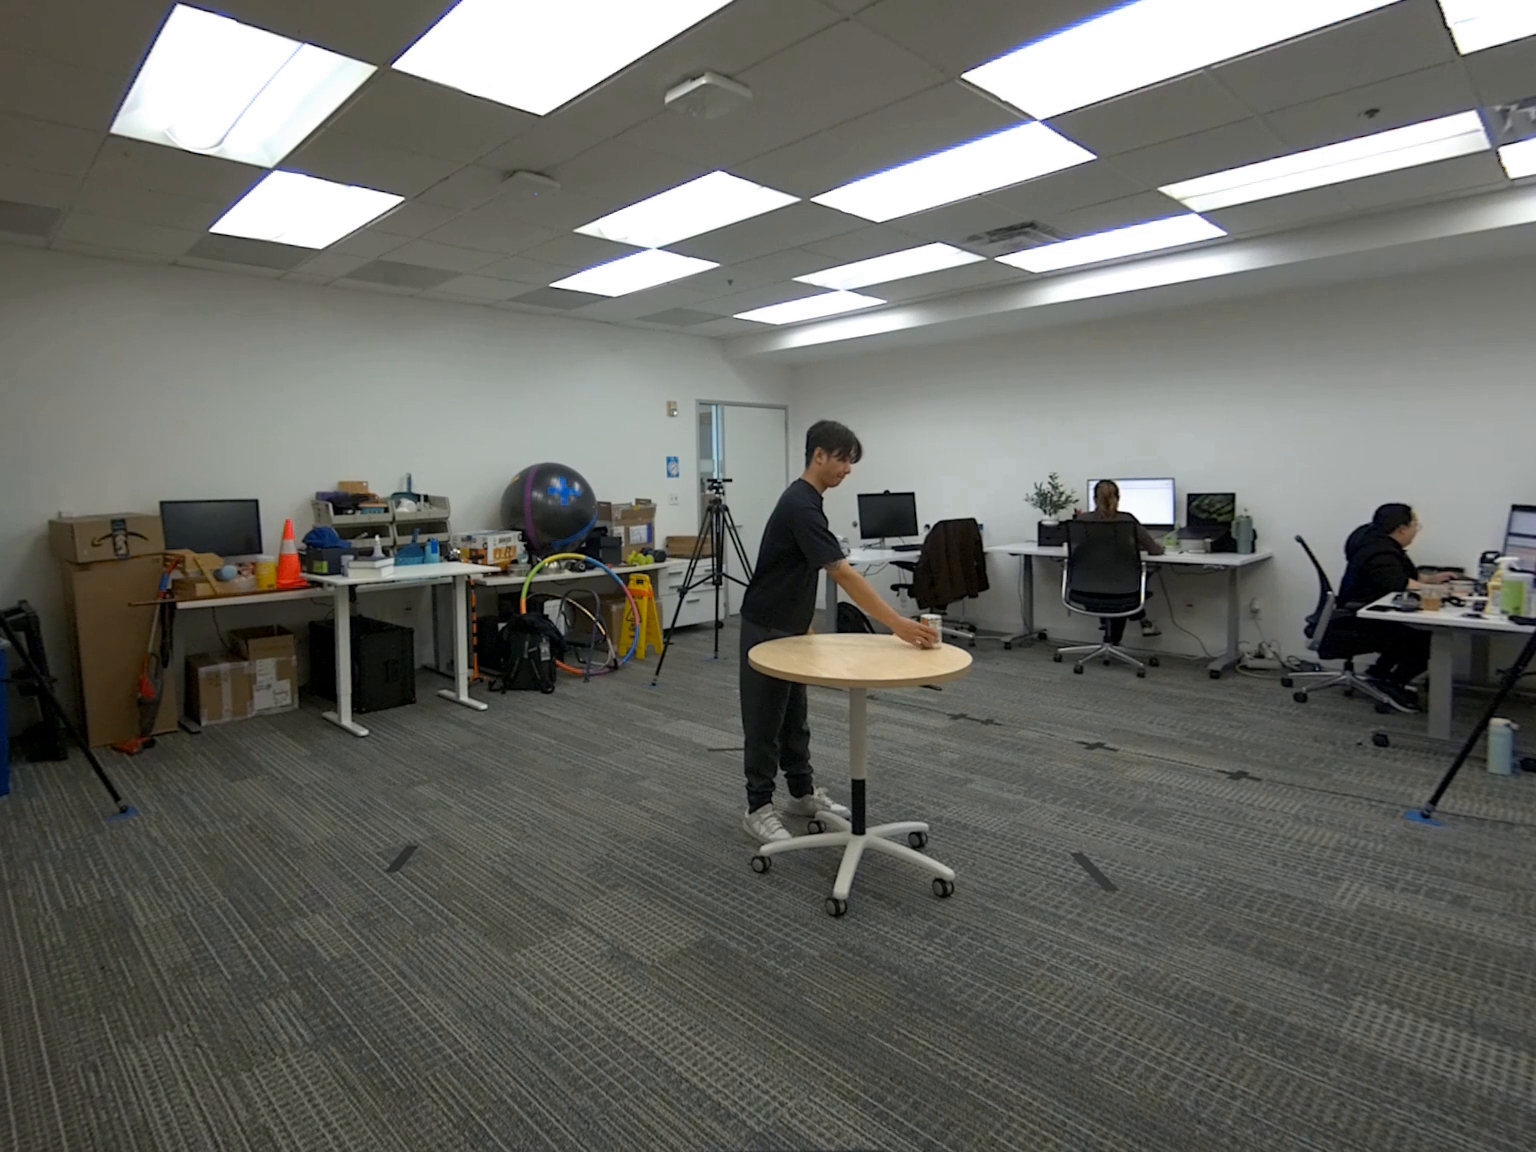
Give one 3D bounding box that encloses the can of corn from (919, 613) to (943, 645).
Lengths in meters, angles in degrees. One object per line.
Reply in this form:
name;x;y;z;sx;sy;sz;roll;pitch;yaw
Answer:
can of corn;0.583;0.197;3.079;0.074;0.111;0.074;0;3;-2
